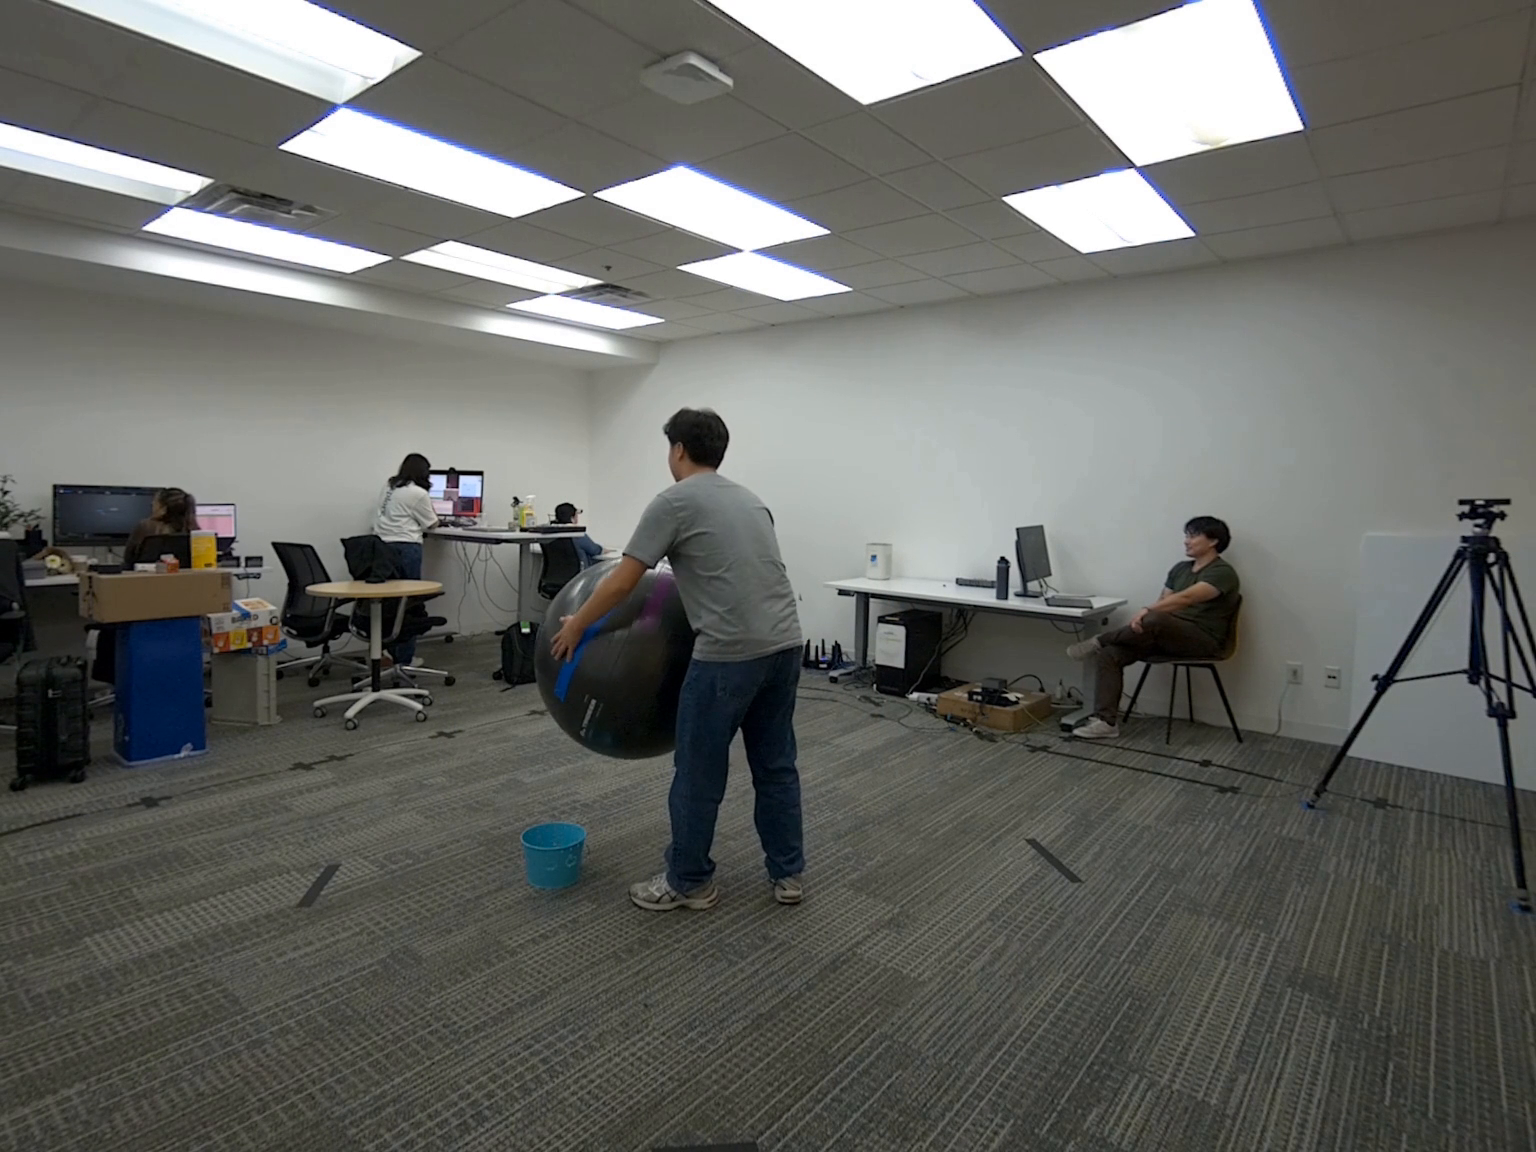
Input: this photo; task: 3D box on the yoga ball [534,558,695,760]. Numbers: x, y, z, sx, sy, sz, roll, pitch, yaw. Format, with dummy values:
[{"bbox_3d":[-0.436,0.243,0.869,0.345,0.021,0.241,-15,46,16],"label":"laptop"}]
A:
[{"bbox_3d":[-0.514,0.311,3.219,0.757,0.756,0.761,1,4,-2],"label":"yoga ball"}]
